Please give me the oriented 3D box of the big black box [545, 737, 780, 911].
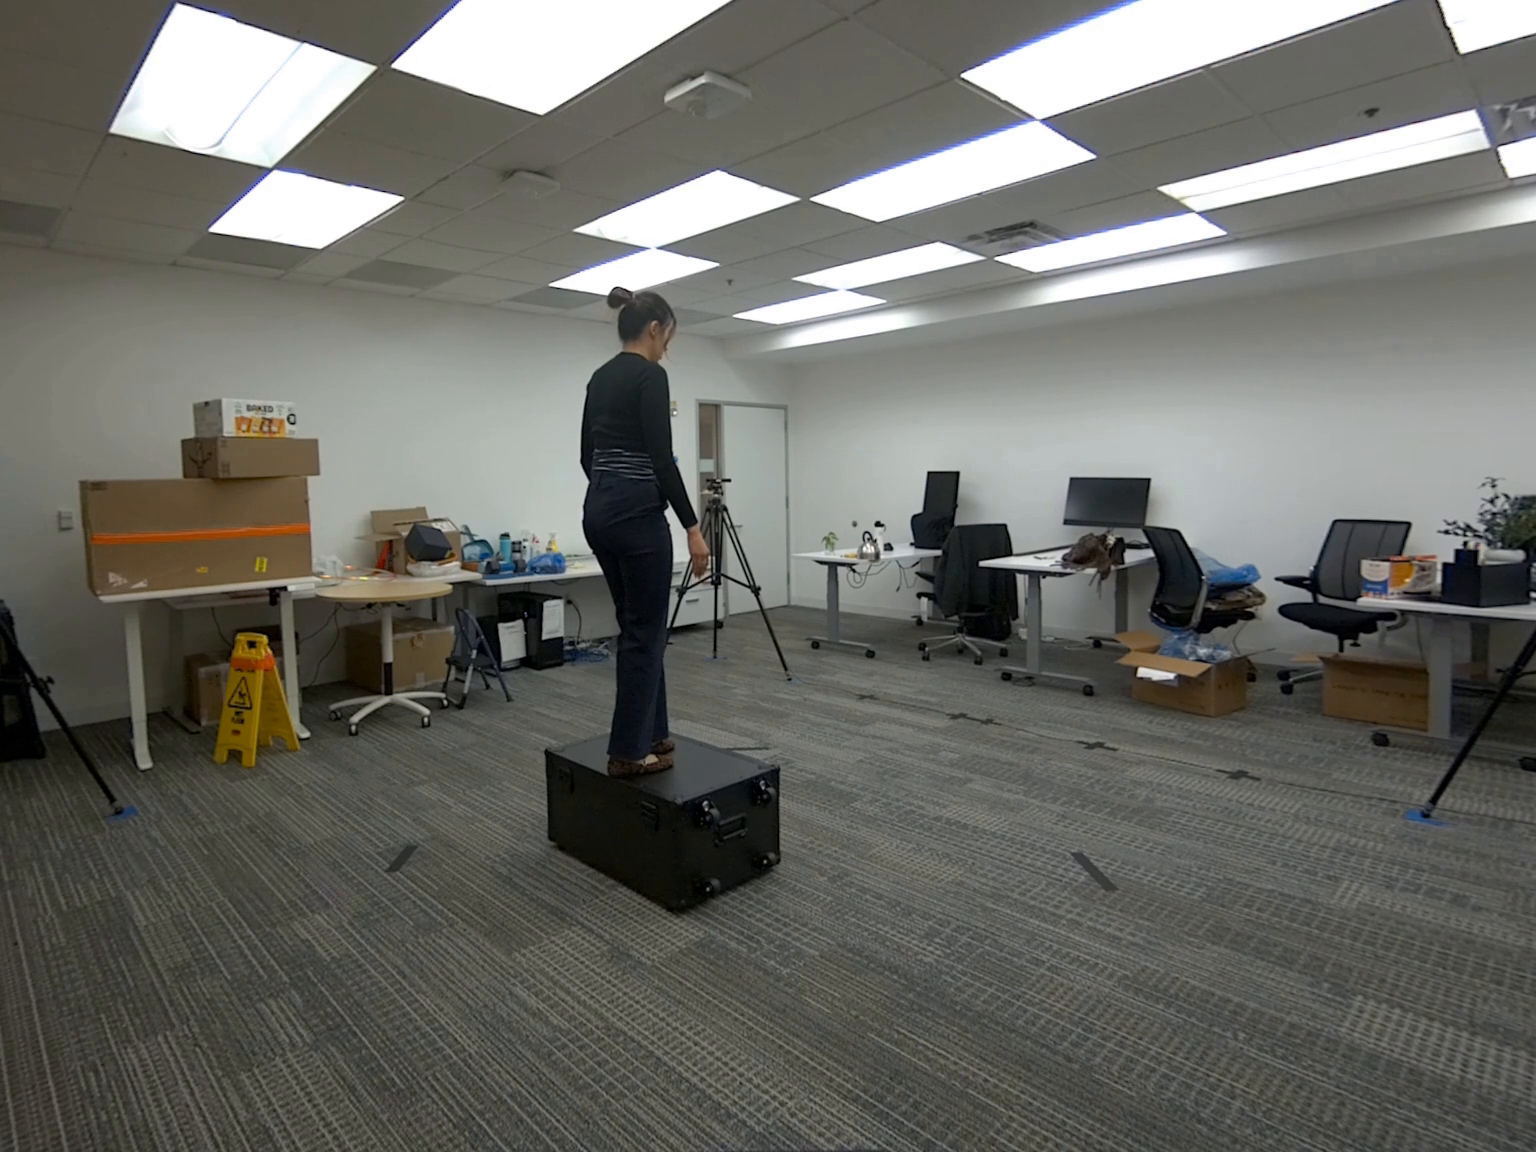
[{"bbox_3d":[-0.419,0.853,3.183,0.507,0.394,0.888,-6,8,-44],"label":"big black box"}]
